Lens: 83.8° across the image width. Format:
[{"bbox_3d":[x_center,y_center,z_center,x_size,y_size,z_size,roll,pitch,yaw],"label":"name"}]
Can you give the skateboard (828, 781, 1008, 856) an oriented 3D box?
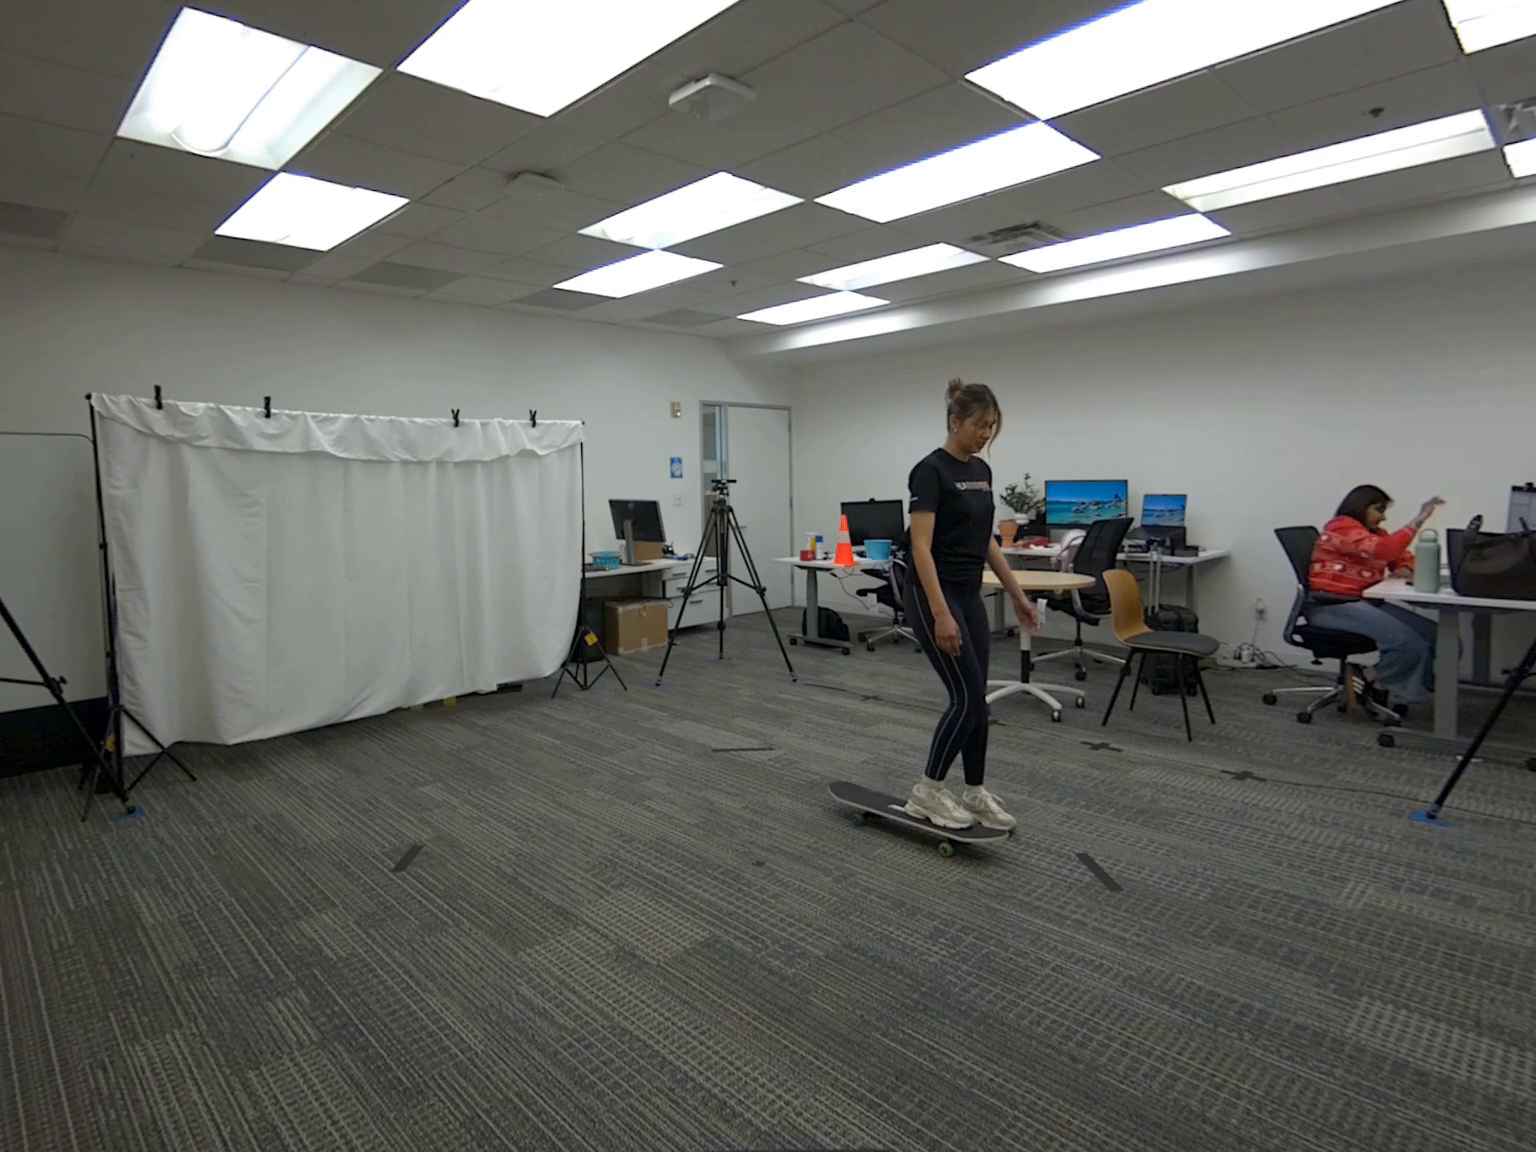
[{"bbox_3d":[0.568,0.964,3.341,0.188,0.110,0.810,-1,4,-45],"label":"skateboard"}]
